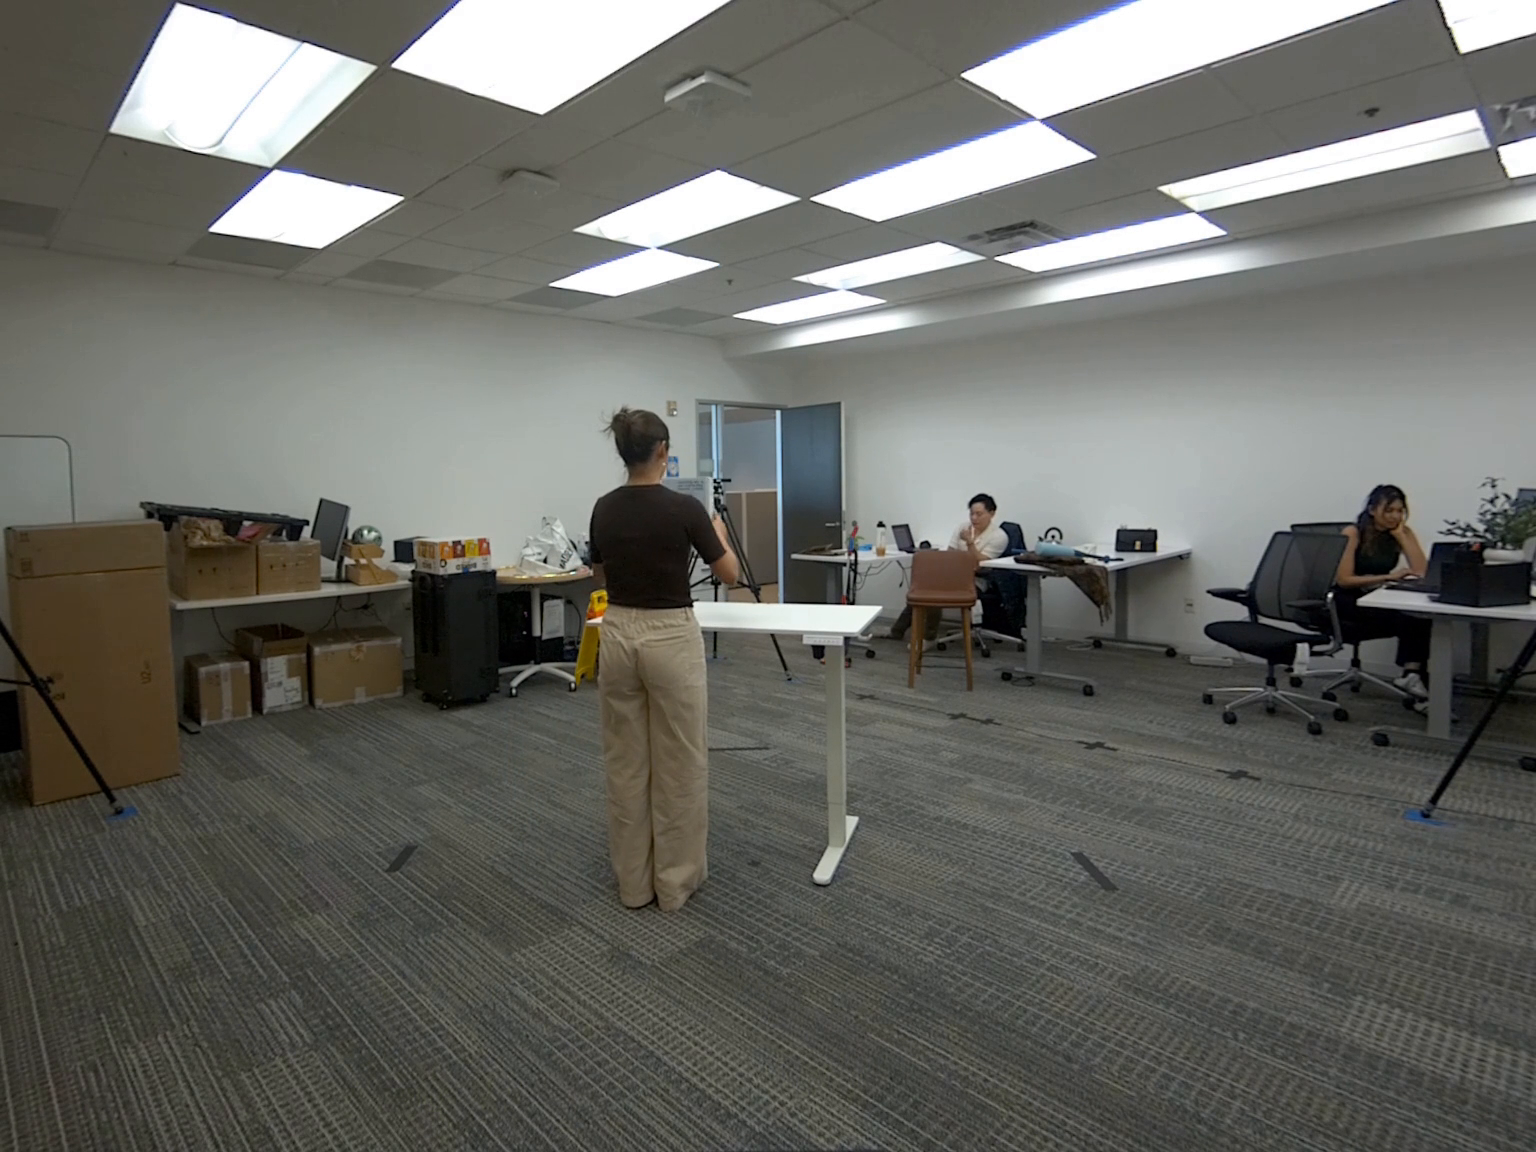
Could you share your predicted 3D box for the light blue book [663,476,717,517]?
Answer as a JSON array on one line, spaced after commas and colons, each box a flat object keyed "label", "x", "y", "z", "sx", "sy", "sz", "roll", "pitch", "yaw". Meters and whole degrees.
[{"label": "light blue book", "x": -0.289, "y": -0.223, "z": 3.088, "sx": 0.194, "sy": 0.261, "sz": 0.058, "roll": -2, "pitch": -2, "yaw": 17}]
